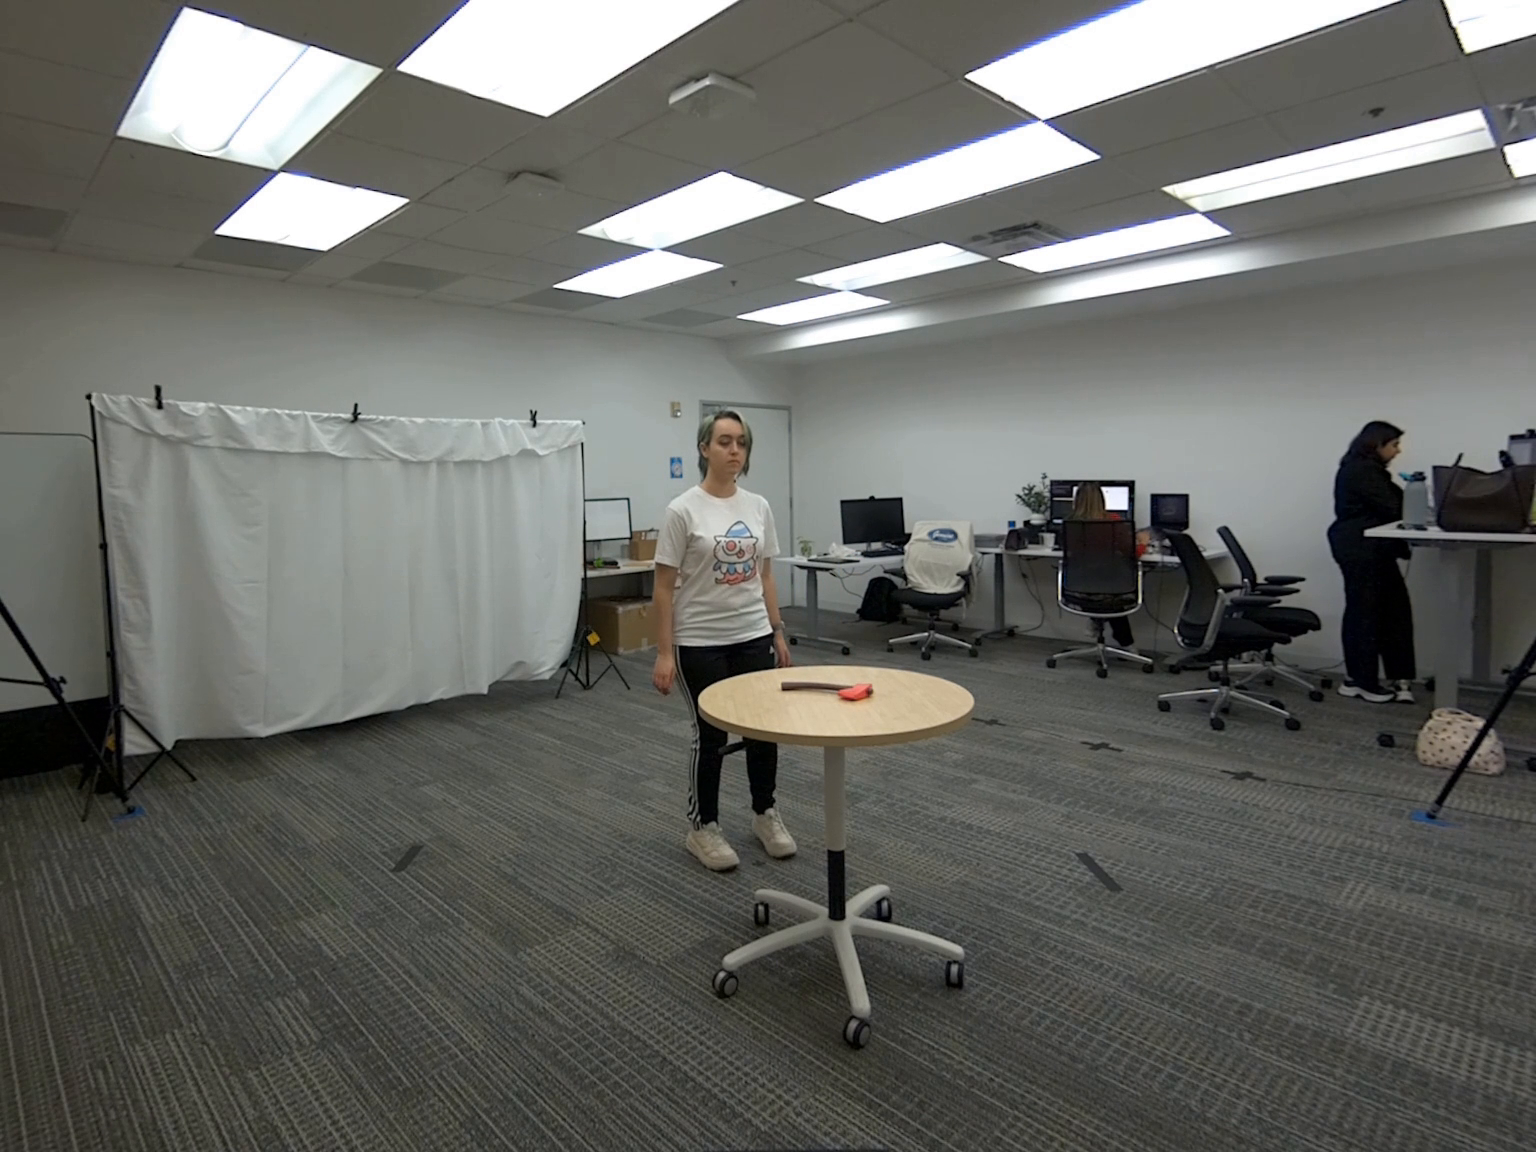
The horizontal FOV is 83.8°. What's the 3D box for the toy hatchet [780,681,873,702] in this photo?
[{"bbox_3d":[0.169,0.326,2.419,0.273,0.029,0.131,-3,11,12],"label":"toy hatchet"}]
